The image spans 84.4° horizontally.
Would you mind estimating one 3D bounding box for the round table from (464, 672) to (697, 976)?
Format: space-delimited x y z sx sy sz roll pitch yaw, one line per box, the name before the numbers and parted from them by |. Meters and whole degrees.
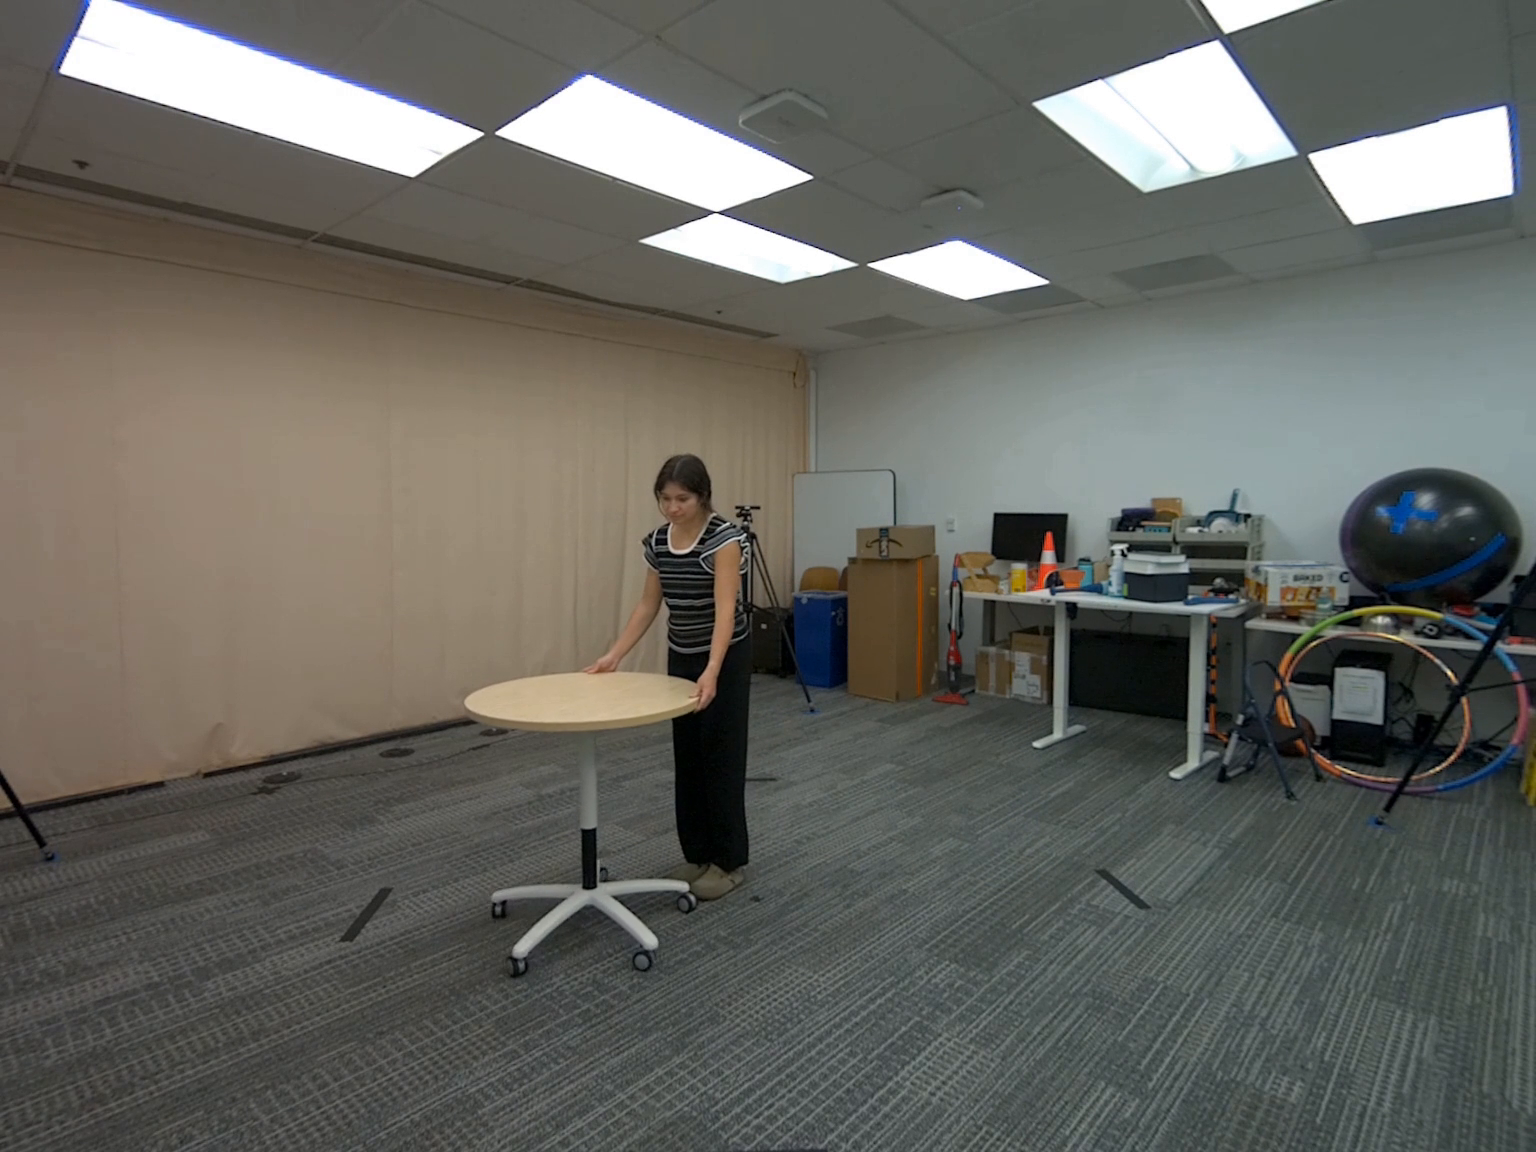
round table | -0.600 0.773 2.771 0.784 0.785 0.787 -1 3 -2
